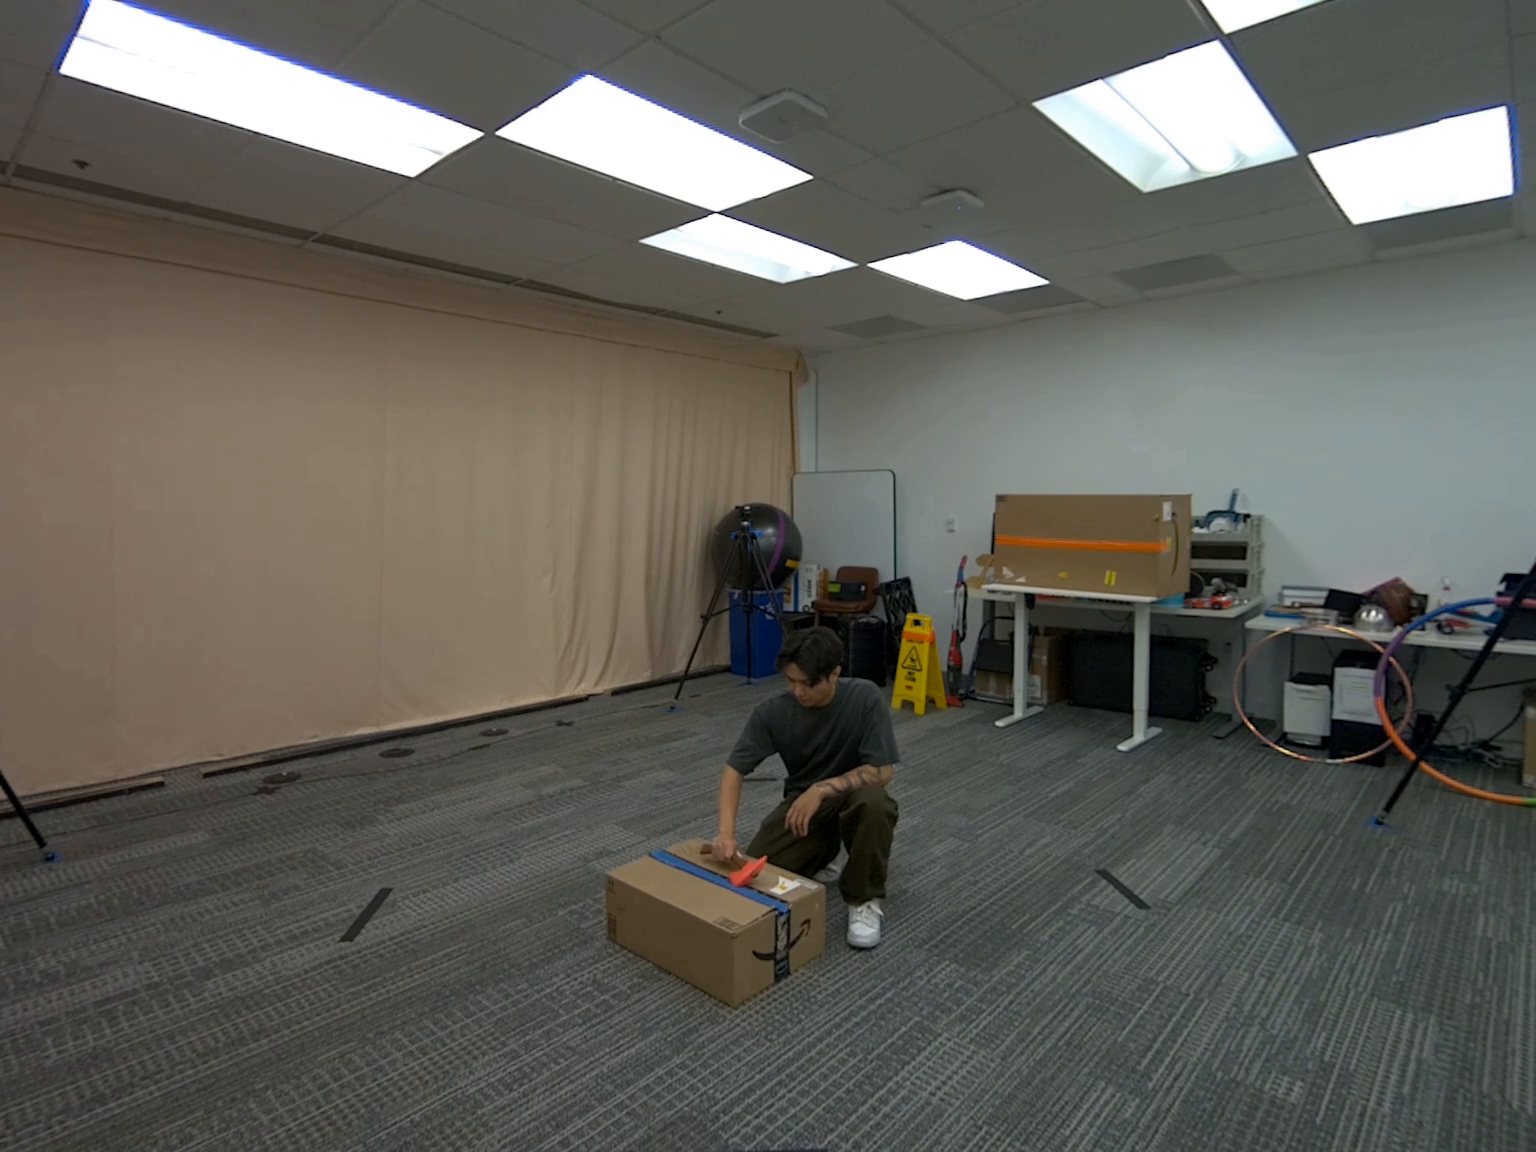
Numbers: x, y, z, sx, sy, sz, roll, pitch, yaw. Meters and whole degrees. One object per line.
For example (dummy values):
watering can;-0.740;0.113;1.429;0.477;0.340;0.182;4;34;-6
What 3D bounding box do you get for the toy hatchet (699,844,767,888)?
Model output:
toy hatchet;-0.130;0.925;2.696;0.278;0.029;0.130;-6;30;42
